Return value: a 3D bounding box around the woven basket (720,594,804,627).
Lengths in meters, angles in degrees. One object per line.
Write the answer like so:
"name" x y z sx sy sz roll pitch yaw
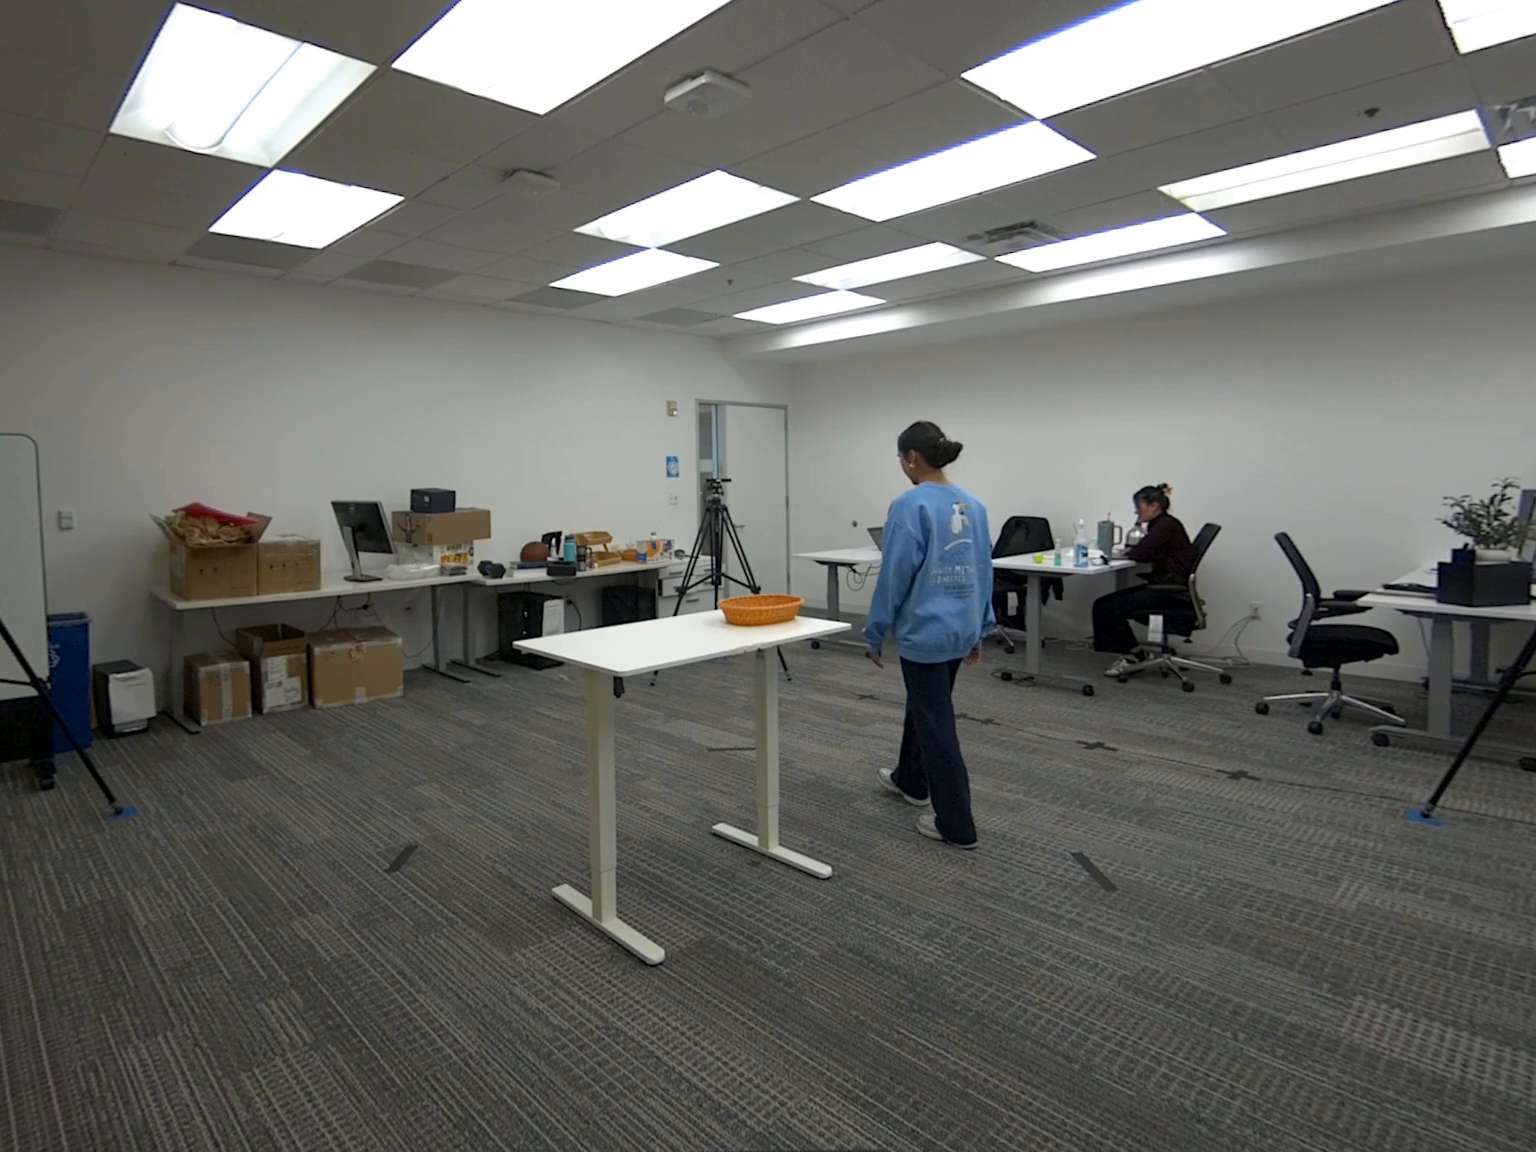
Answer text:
"woven basket" -0.025 0.131 3.116 0.341 0.073 0.260 -5 9 -41
